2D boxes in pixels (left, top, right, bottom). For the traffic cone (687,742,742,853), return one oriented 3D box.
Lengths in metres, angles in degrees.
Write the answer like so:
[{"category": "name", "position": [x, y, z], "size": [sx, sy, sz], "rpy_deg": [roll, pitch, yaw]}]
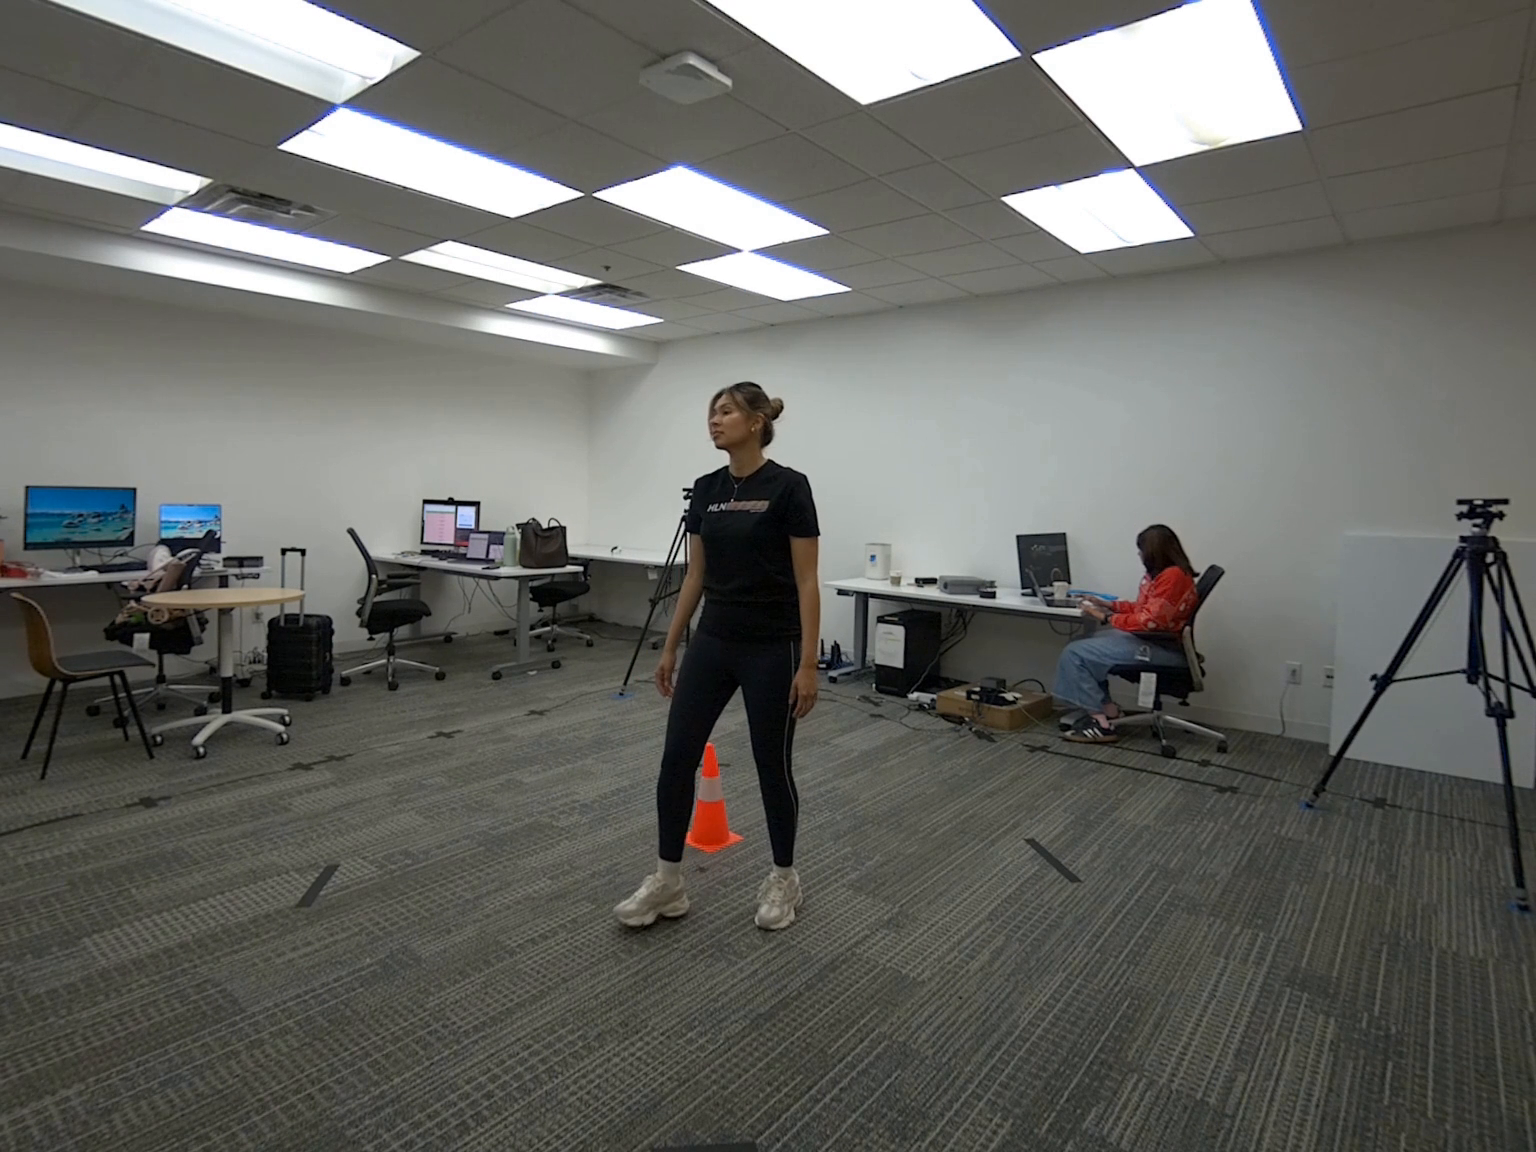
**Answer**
[{"category": "traffic cone", "position": [-0.240, 0.860, 3.387], "size": [0.197, 0.383, 0.212], "rpy_deg": [-1, 4, -40]}]
